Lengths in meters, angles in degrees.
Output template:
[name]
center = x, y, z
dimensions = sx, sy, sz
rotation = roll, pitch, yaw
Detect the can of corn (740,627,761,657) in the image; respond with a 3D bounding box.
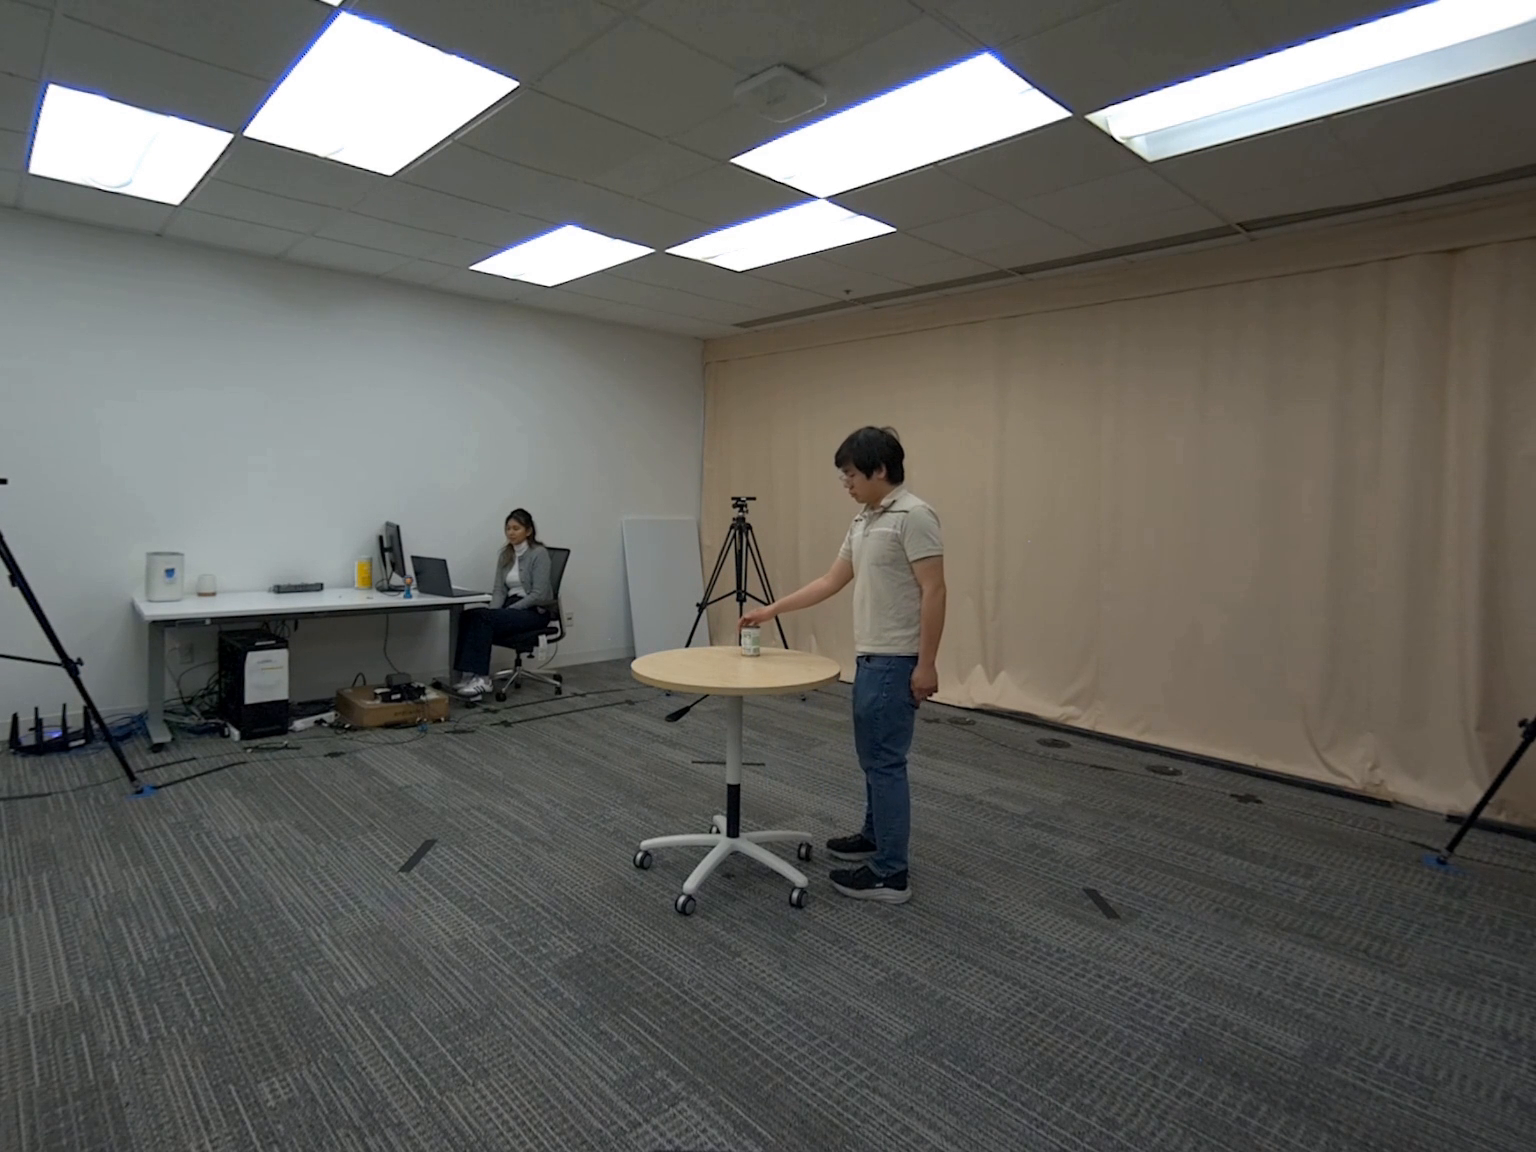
[can of corn]
center = -0.075, 0.252, 3.269
dimensions = 0.074, 0.111, 0.074
rotation = 2, 3, -2
